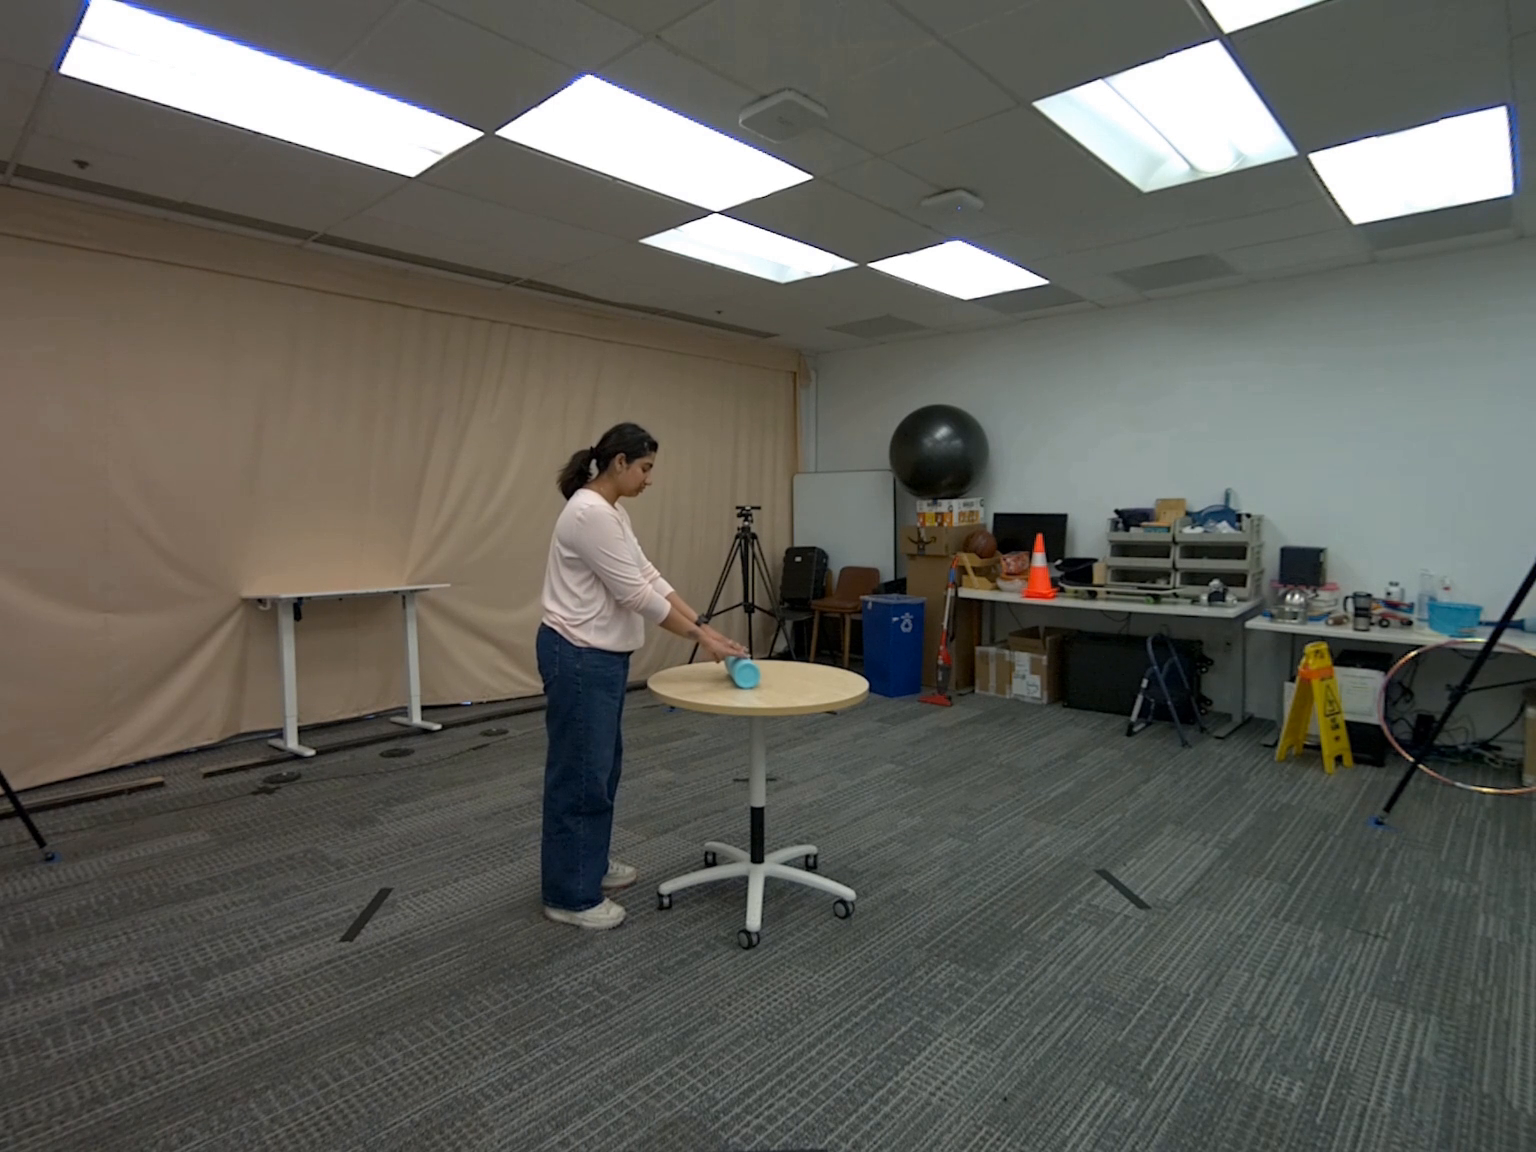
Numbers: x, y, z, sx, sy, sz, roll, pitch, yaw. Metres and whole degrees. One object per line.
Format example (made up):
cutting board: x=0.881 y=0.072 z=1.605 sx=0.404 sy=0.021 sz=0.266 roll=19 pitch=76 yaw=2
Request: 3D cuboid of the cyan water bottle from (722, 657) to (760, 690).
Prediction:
cyan water bottle: x=-0.092 y=0.320 z=2.932 sx=0.091 sy=0.092 sz=0.286 roll=-1 pitch=5 yaw=-9
